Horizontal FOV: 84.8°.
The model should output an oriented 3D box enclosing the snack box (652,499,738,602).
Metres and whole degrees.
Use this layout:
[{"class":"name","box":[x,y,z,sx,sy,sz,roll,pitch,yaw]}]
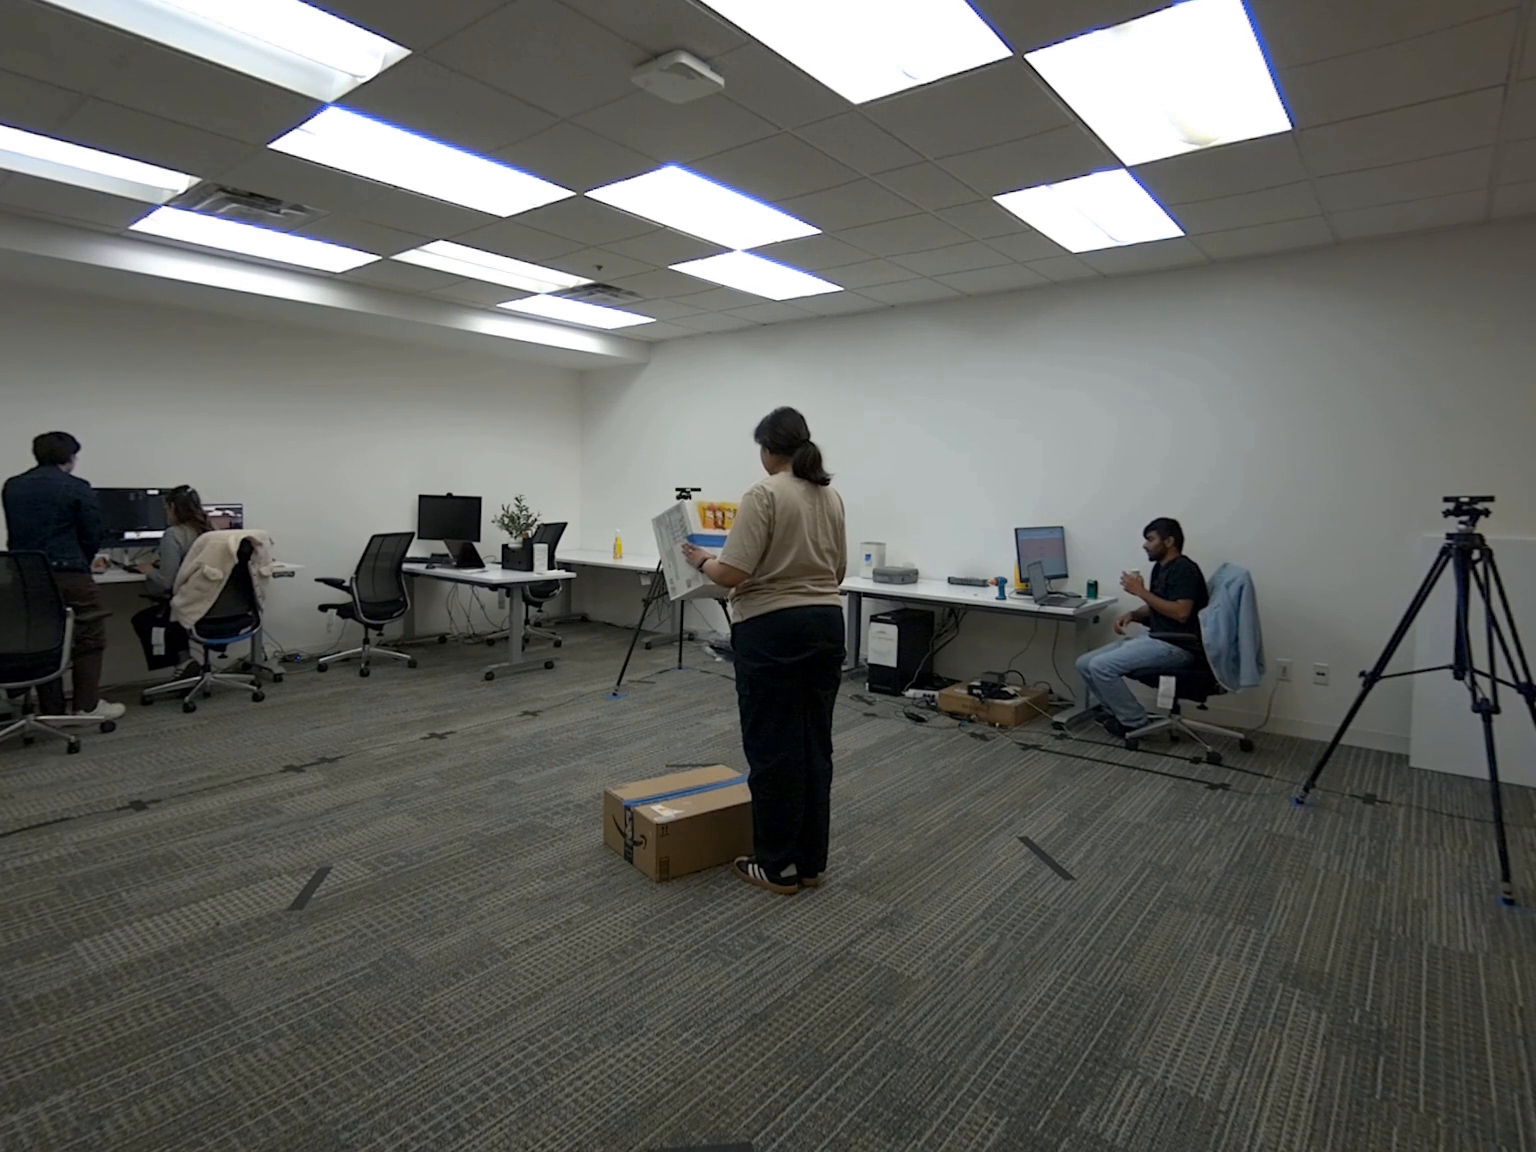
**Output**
[{"class":"snack box","box":[-0.224,-0.099,3.359,0.392,0.347,0.208,-1,-21,-46]}]
